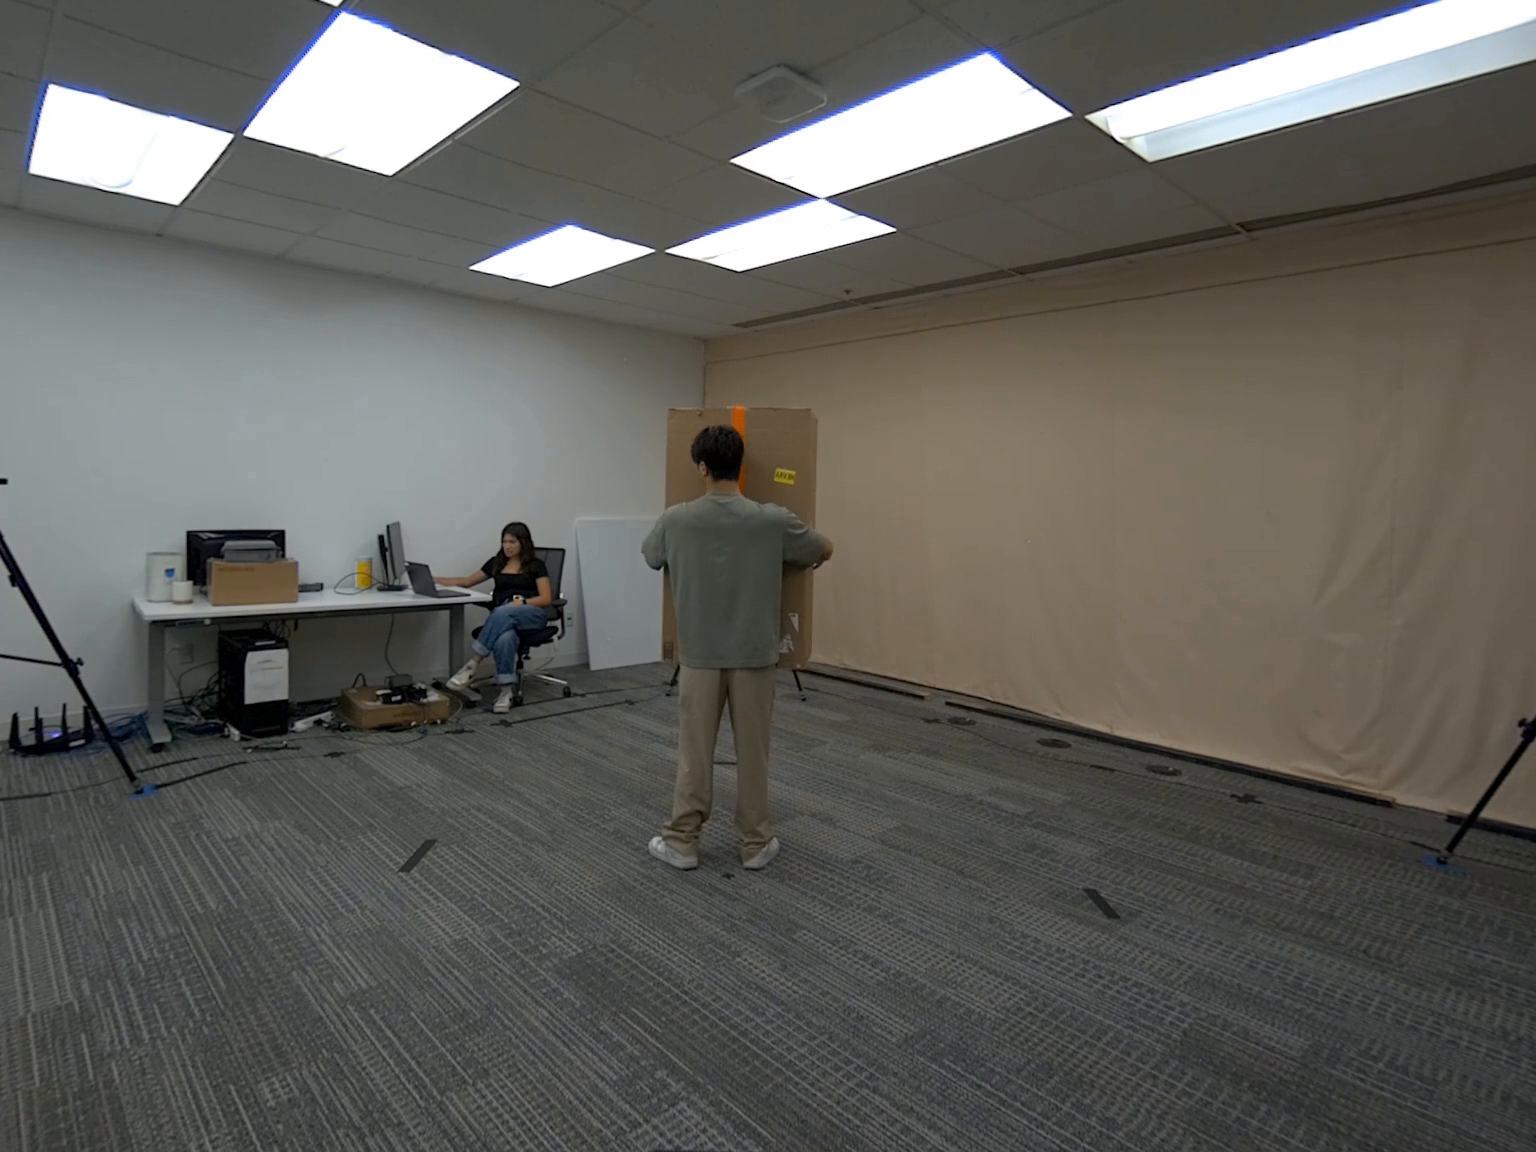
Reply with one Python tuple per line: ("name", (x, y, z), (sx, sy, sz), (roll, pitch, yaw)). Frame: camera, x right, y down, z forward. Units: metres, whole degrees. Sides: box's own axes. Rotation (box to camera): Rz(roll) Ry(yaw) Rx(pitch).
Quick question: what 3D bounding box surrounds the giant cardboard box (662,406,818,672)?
("giant cardboard box", (-0.119, -0.170, 3.521), (0.582, 1.024, 0.424), (2, 3, 8))
